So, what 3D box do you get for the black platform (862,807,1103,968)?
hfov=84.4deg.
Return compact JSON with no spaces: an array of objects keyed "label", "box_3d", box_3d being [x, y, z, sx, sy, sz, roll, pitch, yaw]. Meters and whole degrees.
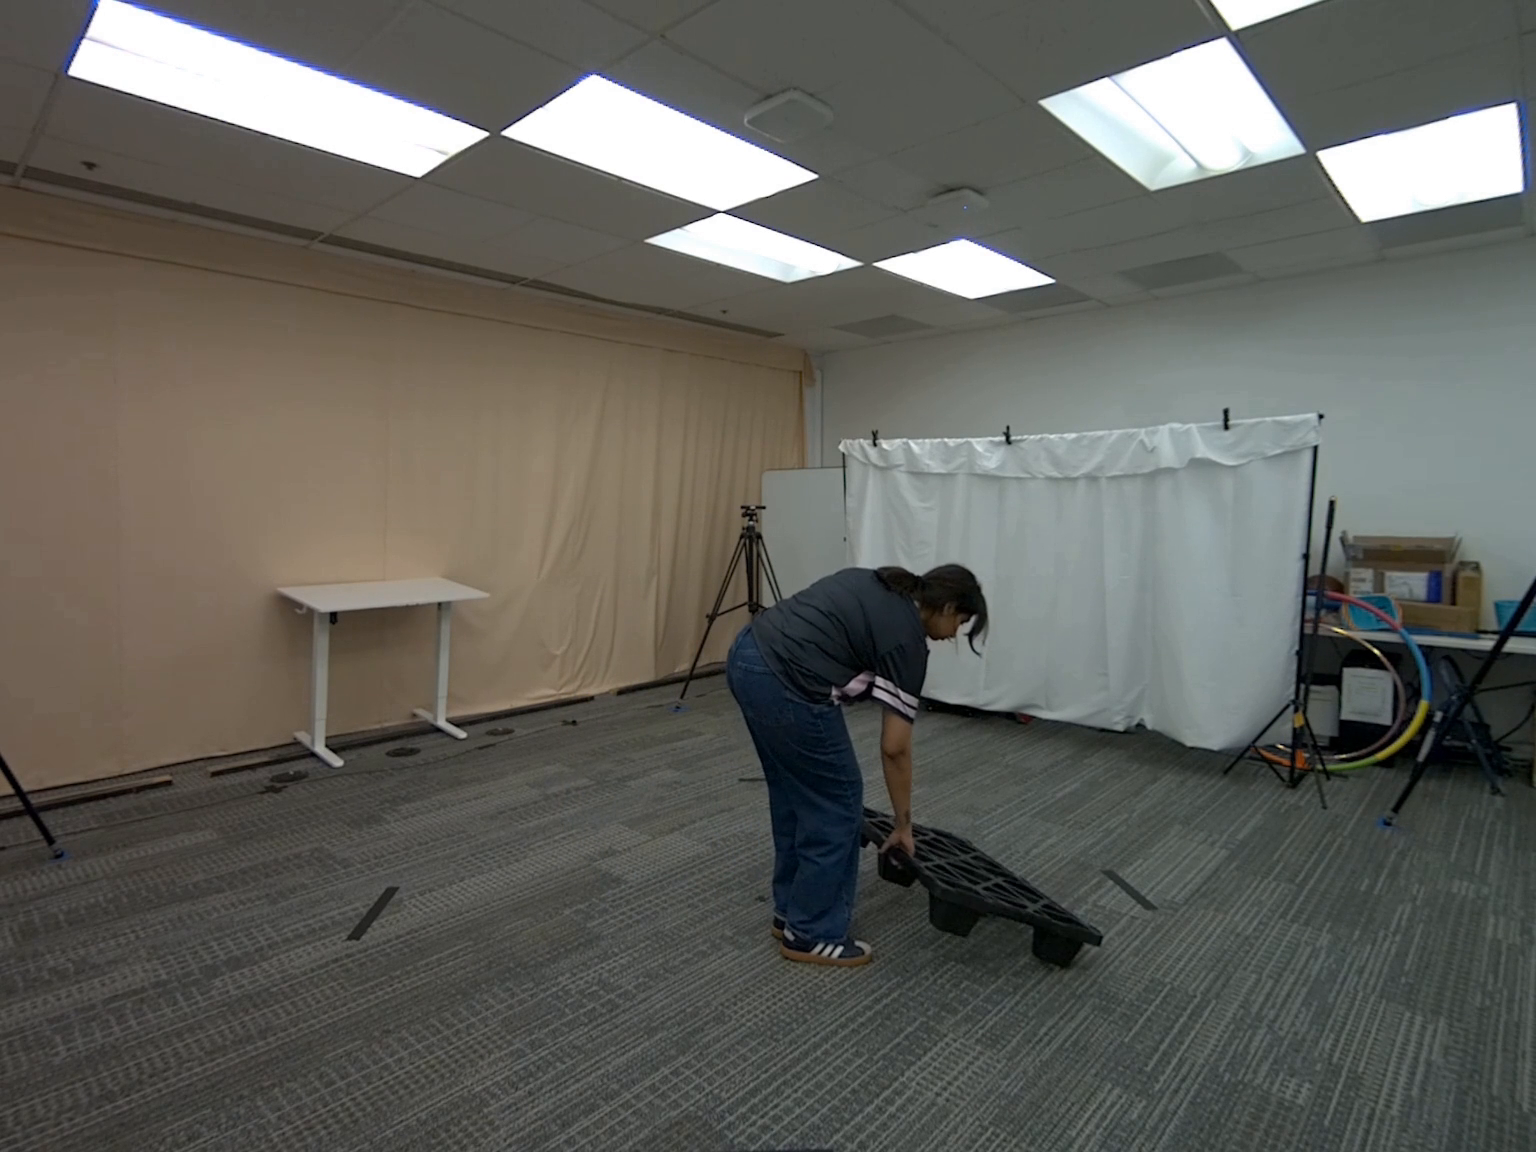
[{"label":"black platform","box_3d":[0.600,1.003,2.815,0.594,0.143,0.820,21,-3,-16]}]
